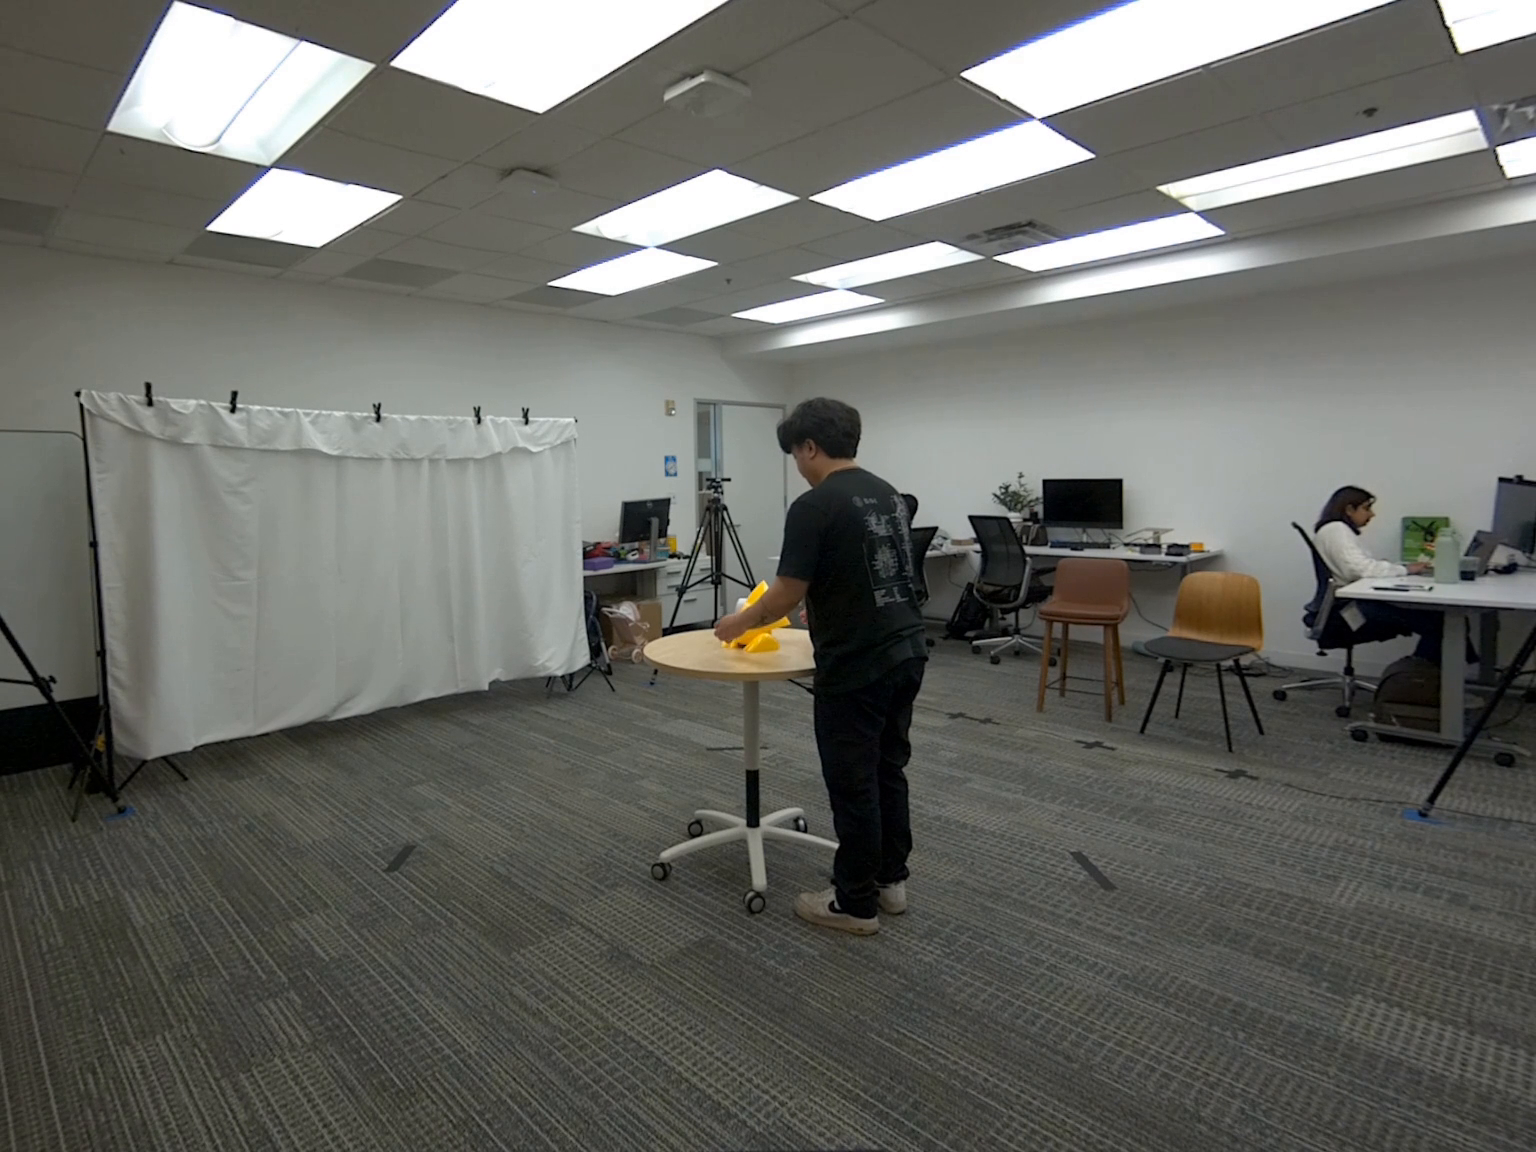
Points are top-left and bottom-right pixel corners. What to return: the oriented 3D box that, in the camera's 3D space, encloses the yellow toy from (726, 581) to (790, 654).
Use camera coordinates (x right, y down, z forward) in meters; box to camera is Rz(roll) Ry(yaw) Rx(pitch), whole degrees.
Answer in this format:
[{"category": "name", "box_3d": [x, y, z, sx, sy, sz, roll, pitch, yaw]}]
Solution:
[{"category": "yellow toy", "box_3d": [-0.056, 0.140, 3.065, 0.211, 0.229, 0.188, 5, 8, 44]}]
